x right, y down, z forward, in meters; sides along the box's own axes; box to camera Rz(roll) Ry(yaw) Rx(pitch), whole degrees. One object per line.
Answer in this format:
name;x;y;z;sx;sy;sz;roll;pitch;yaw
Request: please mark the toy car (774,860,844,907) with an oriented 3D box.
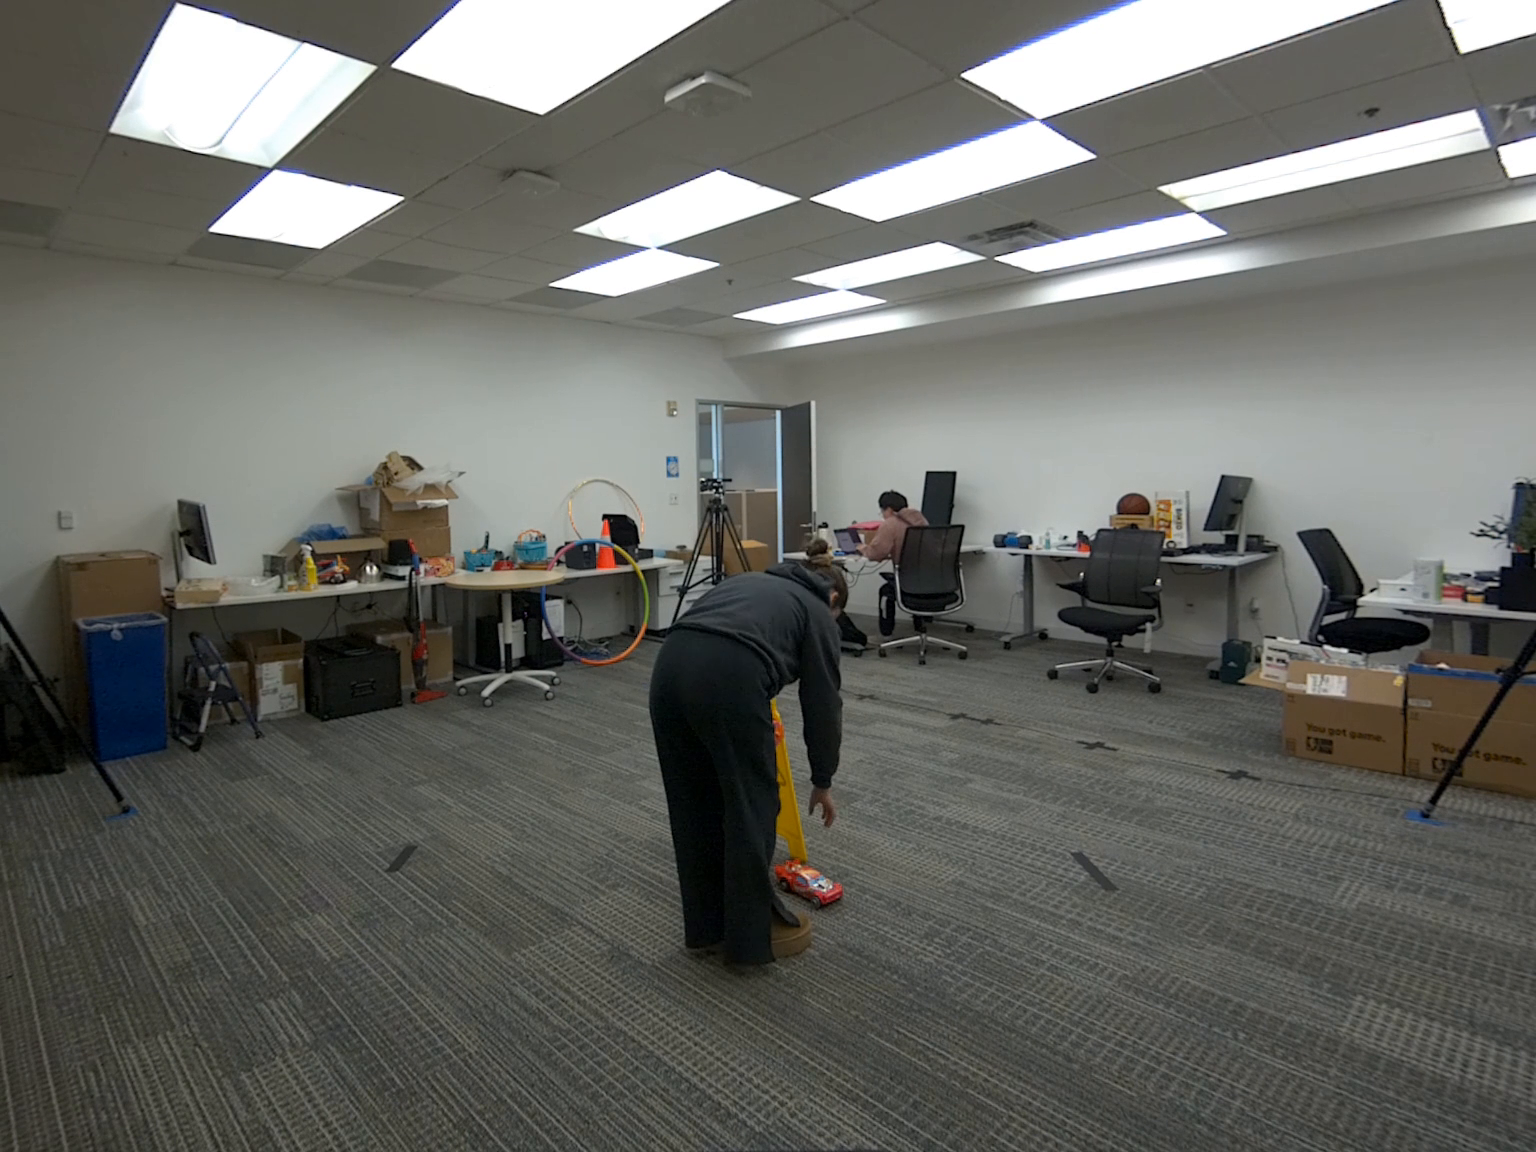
toy car;0.137;1.044;2.864;0.127;0.082;0.264;-7;18;-40
